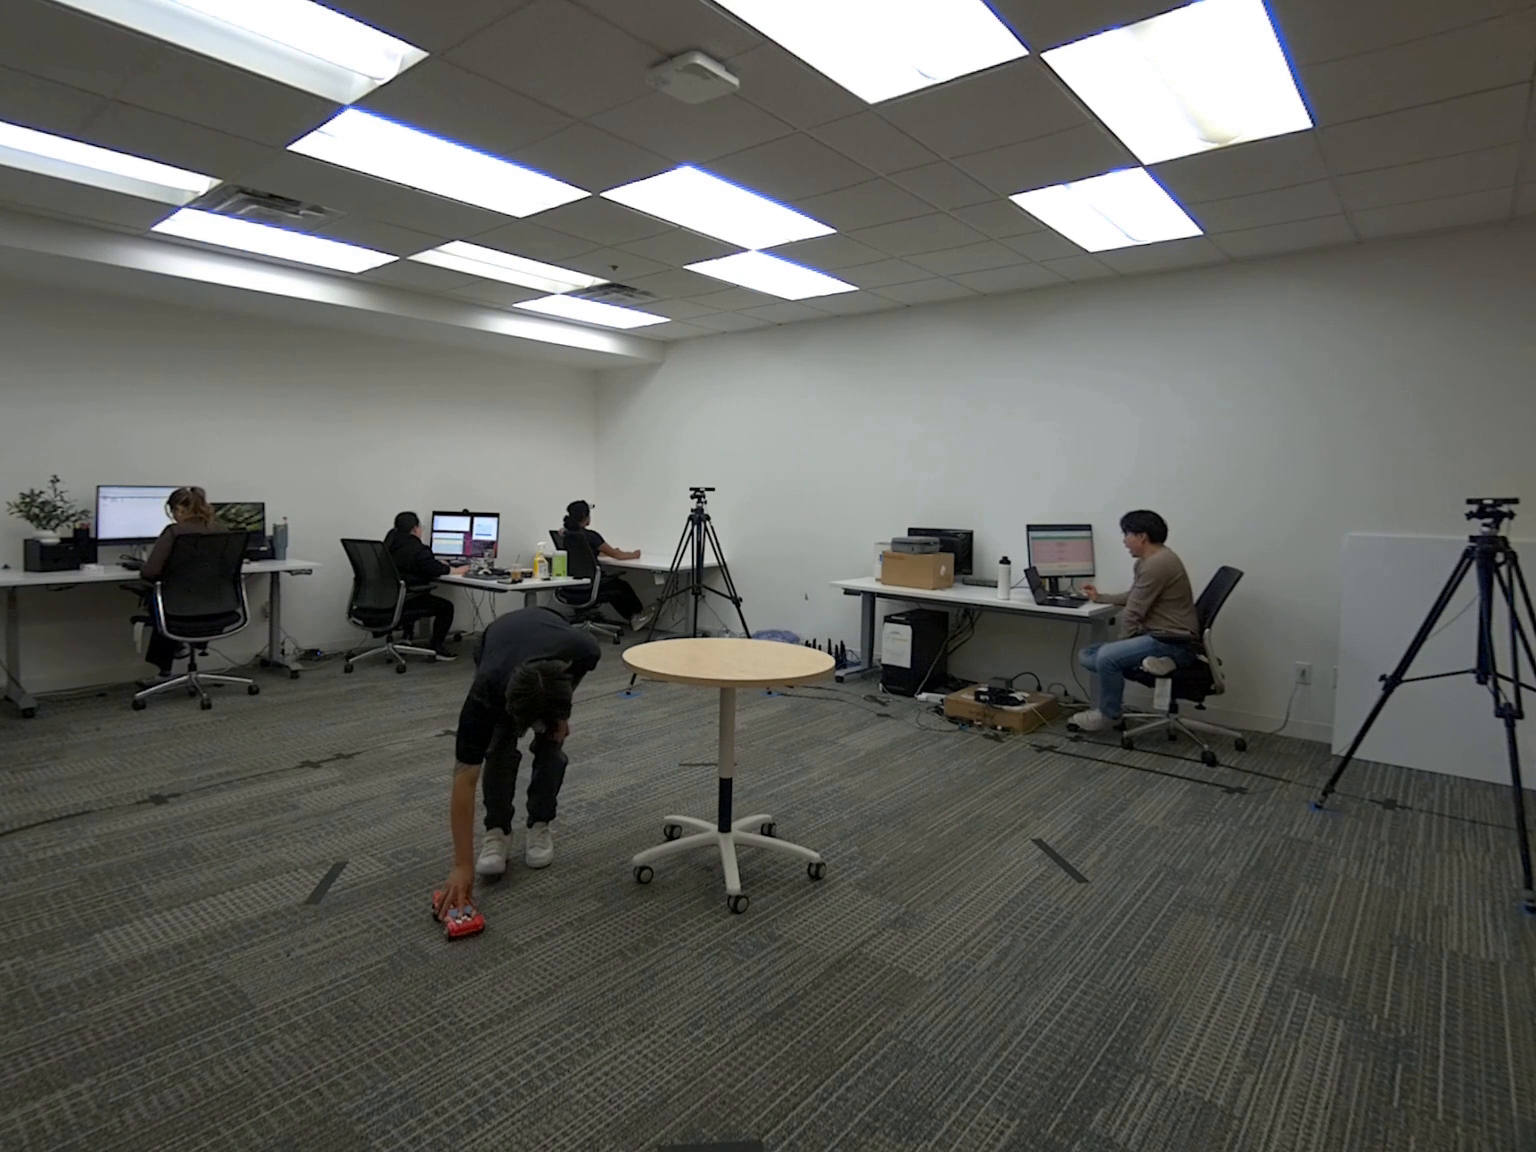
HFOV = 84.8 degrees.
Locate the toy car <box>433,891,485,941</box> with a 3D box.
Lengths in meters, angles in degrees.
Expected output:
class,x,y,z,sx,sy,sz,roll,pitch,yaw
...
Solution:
class,x,y,z,sx,sy,sz,roll,pitch,yaw
toy car,-1.004,1.065,2.697,0.126,0.082,0.264,-1,16,-33
